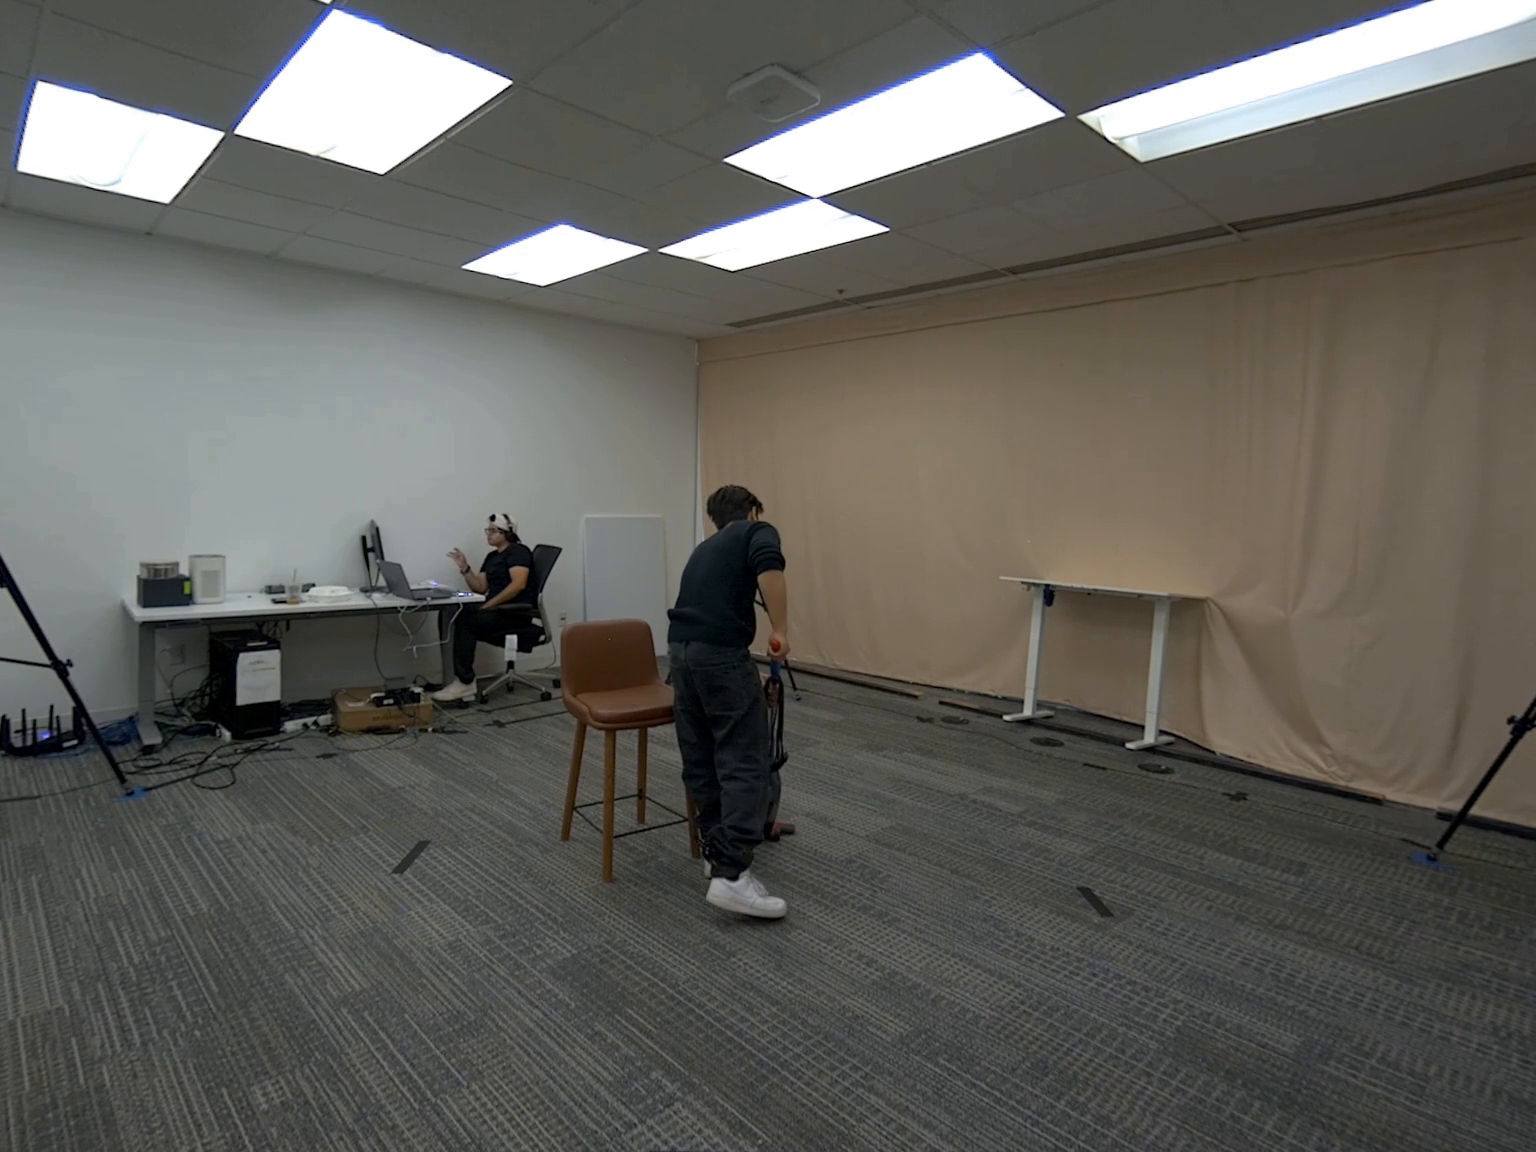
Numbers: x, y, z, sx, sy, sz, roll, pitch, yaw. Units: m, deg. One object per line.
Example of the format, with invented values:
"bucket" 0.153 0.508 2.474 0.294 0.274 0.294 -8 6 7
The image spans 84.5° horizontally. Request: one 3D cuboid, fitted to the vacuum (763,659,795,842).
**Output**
"vacuum" 0.007 0.658 3.204 0.253 1.029 0.146 6 37 1
